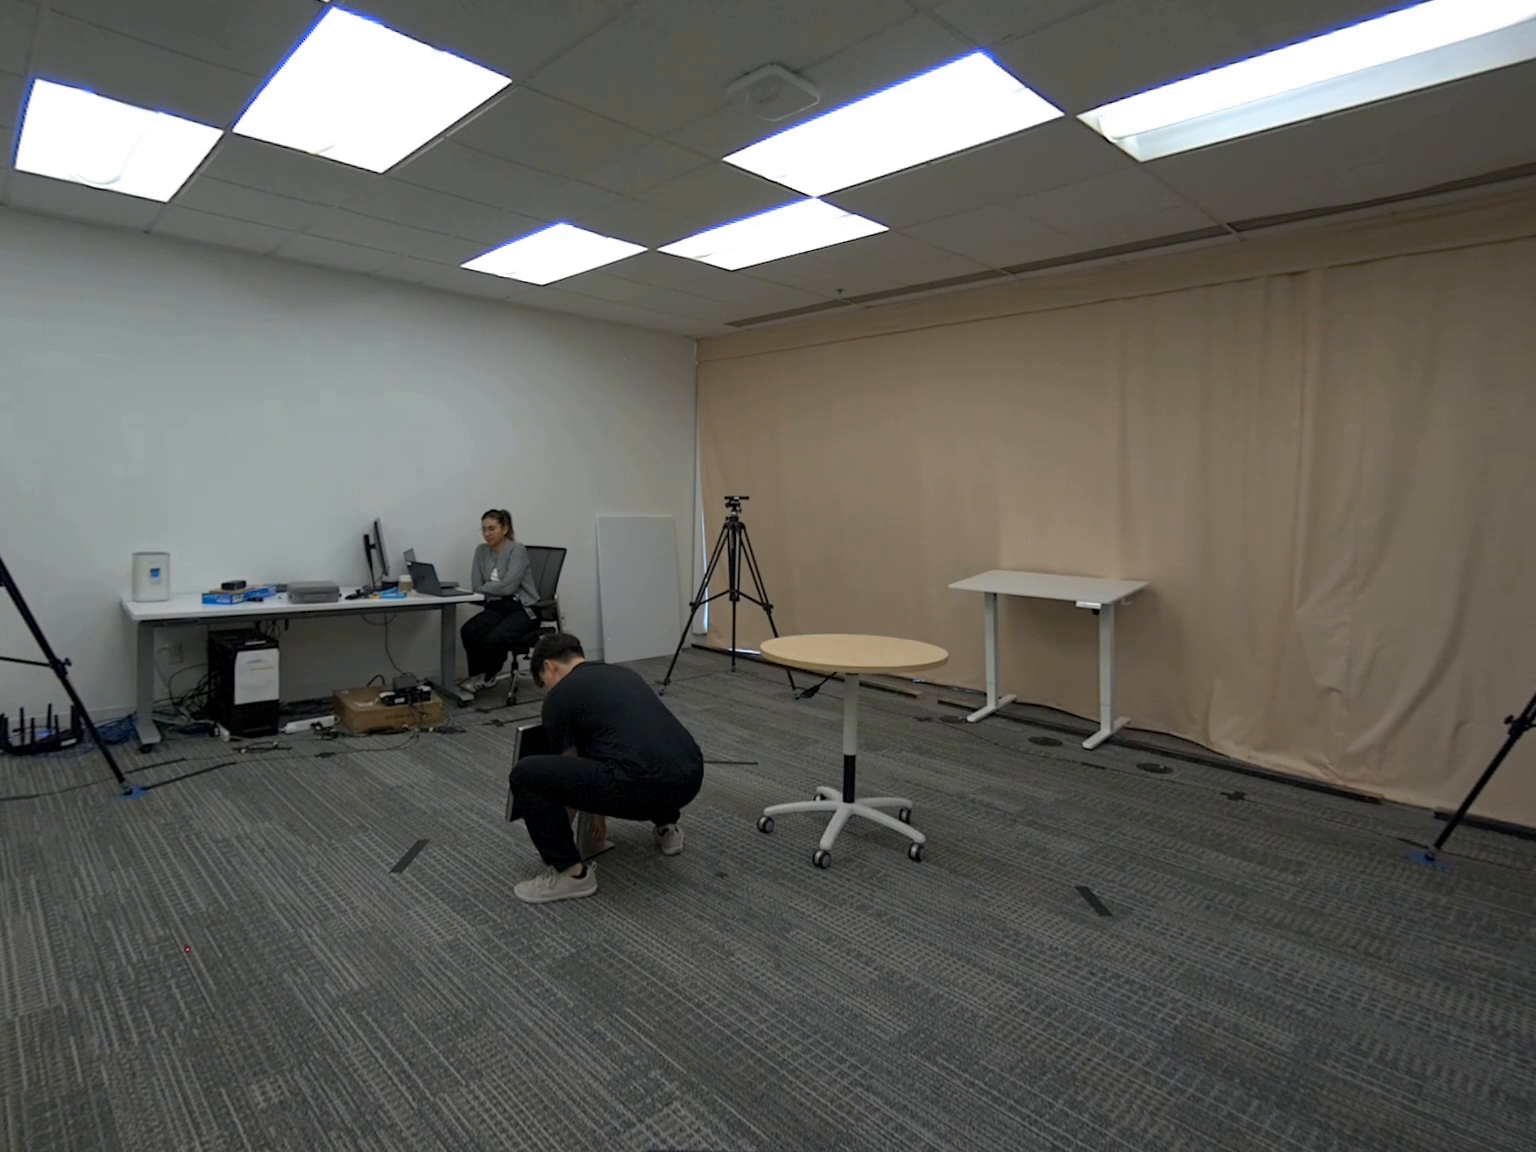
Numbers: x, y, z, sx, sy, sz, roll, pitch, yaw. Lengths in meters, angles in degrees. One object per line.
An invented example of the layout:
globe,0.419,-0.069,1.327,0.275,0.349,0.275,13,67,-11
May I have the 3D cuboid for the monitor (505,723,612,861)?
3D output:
monitor,-0.748,0.806,3.276,0.191,0.522,0.528,0,2,32
